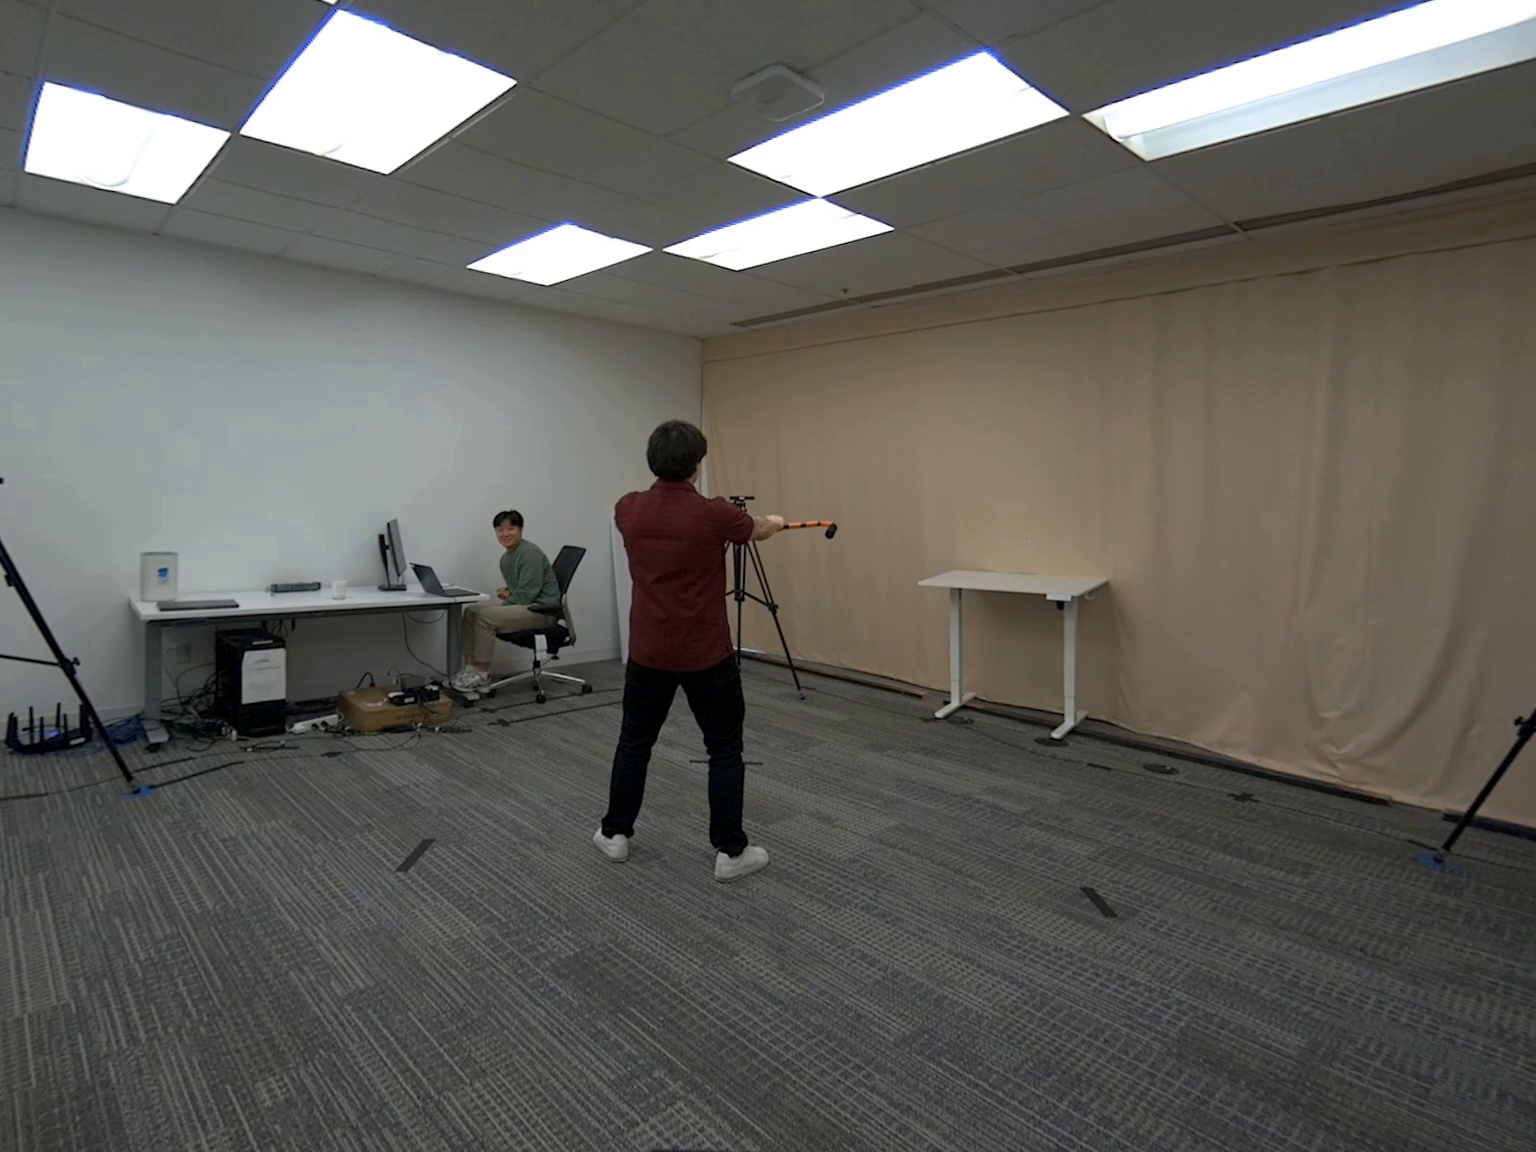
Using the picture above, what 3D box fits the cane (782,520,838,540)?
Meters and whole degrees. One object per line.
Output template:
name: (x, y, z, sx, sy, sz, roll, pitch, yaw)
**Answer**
cane: (-0.165, -0.200, 3.608, 0.919, 0.149, 0.207, 2, 20, 16)
